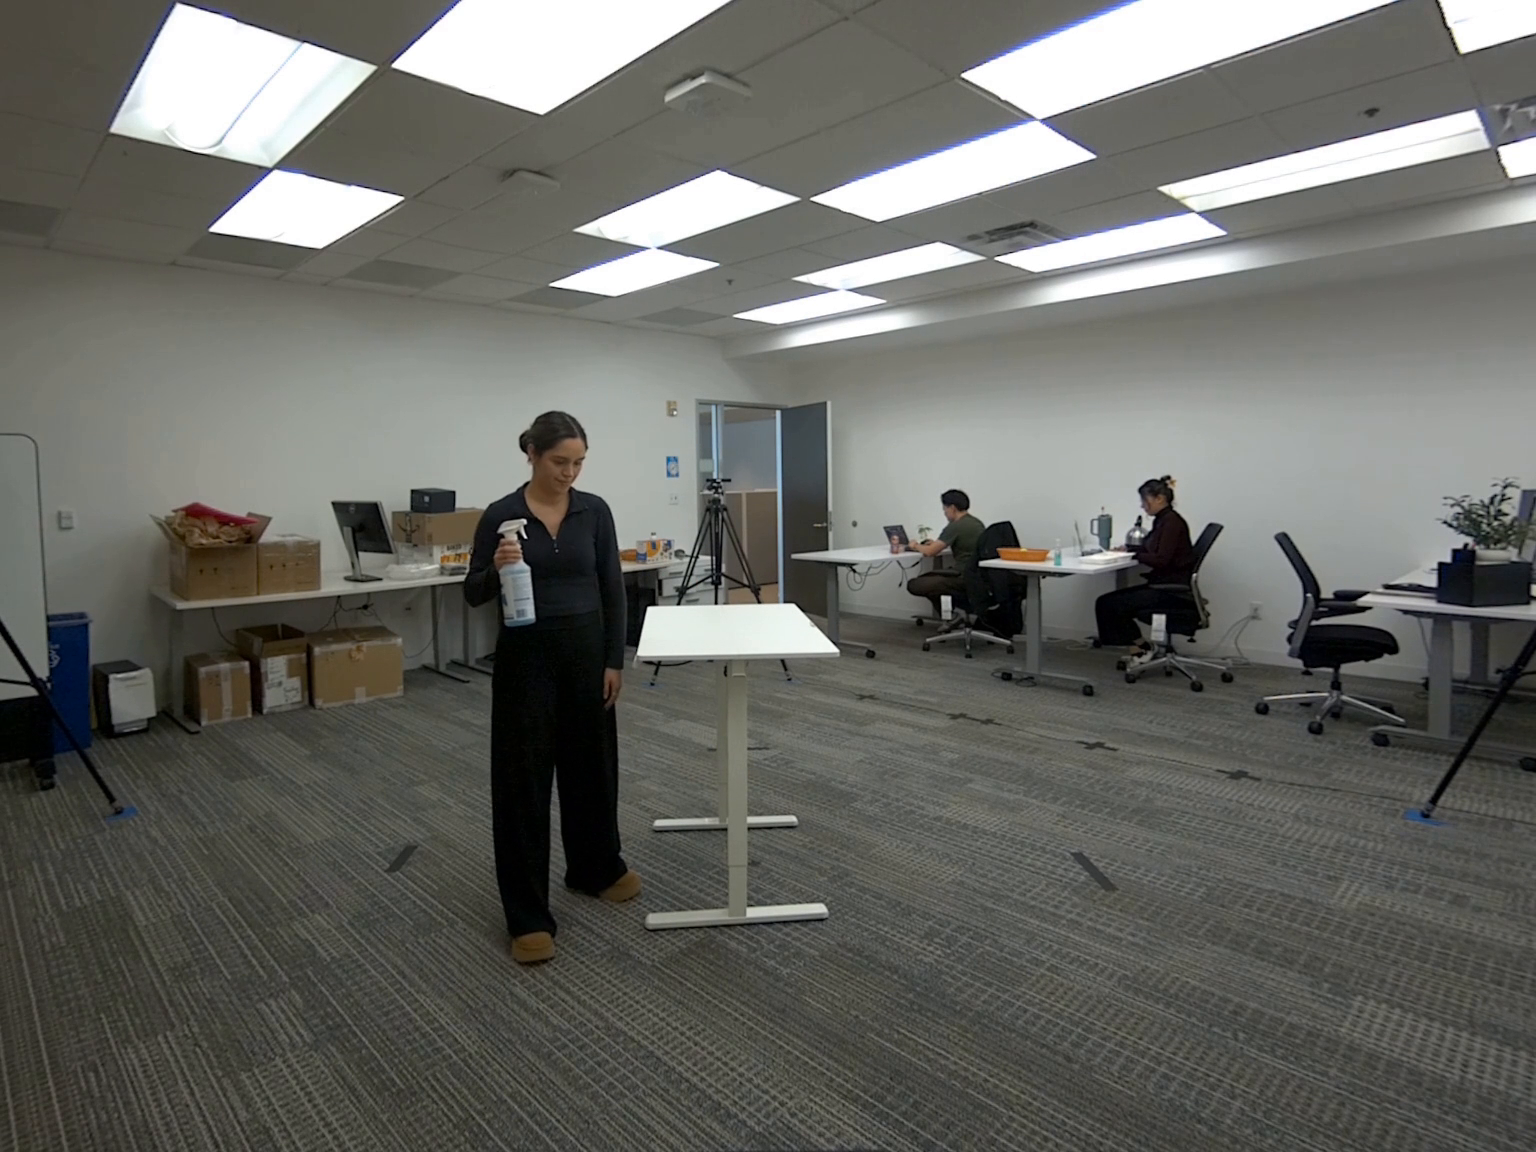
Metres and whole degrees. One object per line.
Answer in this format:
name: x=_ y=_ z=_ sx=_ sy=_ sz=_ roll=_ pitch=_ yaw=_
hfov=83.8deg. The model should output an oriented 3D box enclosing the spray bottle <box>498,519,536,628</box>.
spray bottle: x=-0.718 y=-0.005 z=2.424 sx=0.092 sy=0.297 sz=0.085 roll=-2 pitch=3 yaw=42
